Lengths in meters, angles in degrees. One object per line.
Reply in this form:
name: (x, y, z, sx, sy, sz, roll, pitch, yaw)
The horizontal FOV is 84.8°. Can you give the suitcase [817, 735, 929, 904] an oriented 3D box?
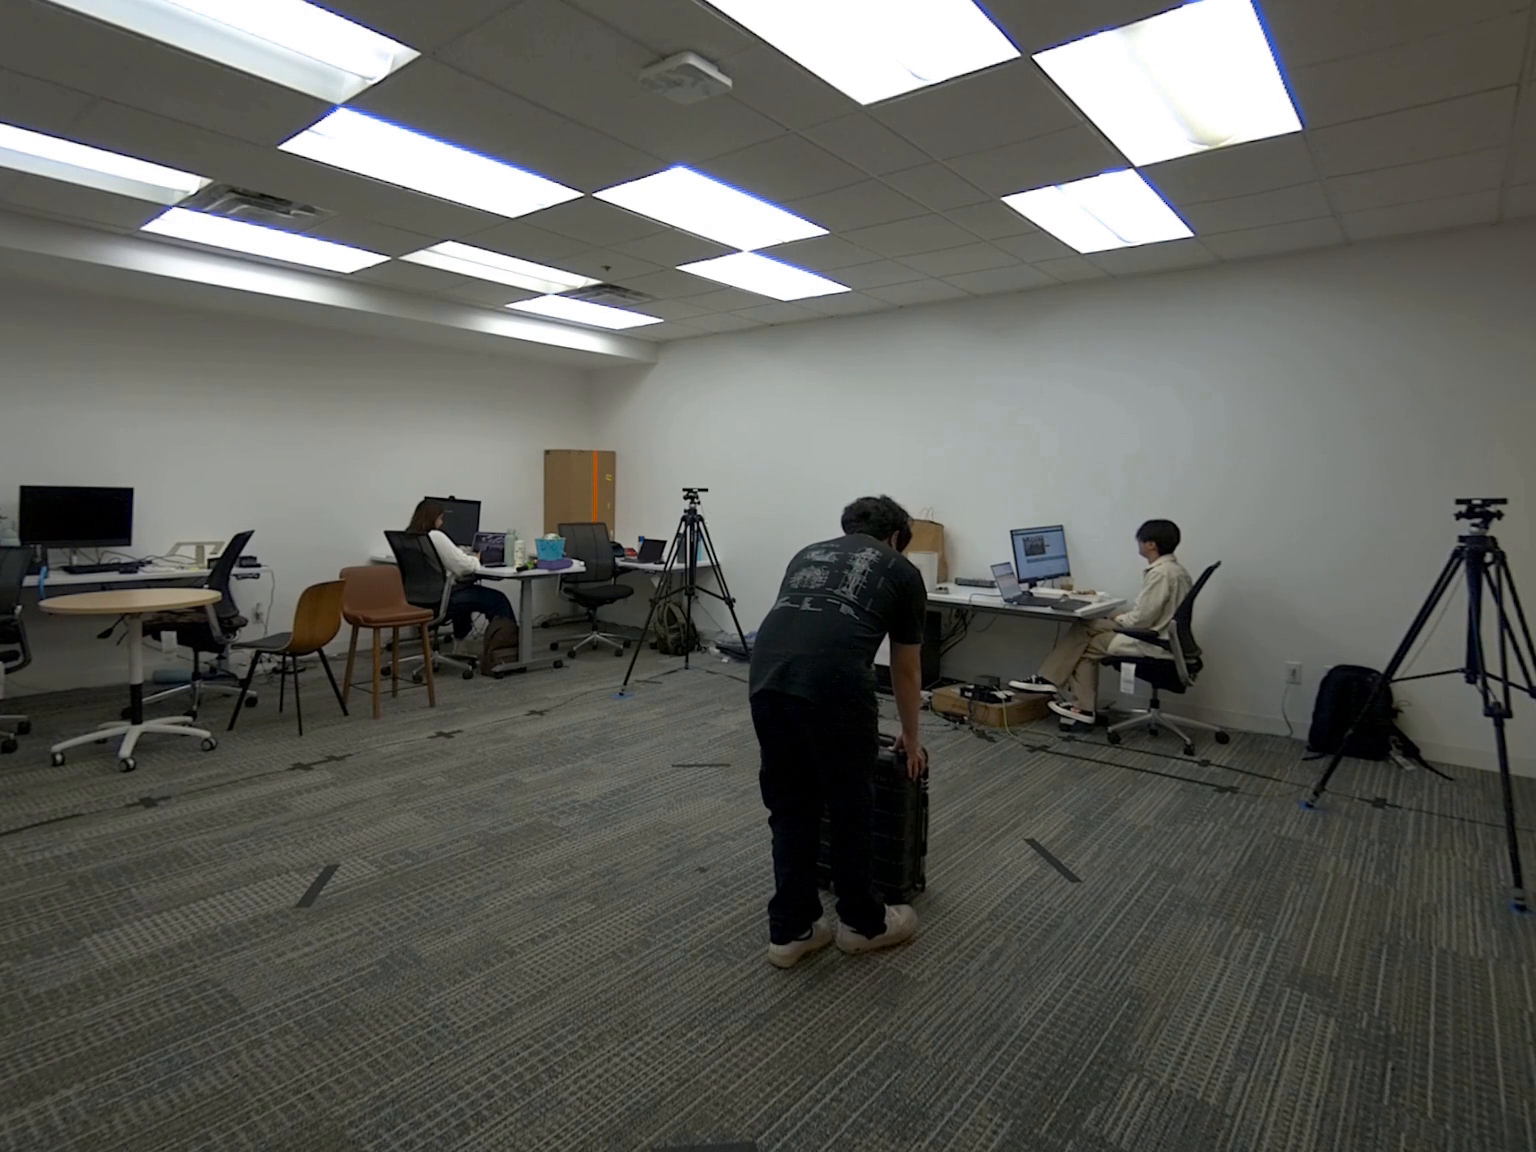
suitcase: (0.358, 0.826, 2.956, 0.387, 0.546, 0.242, 5, 6, 31)
